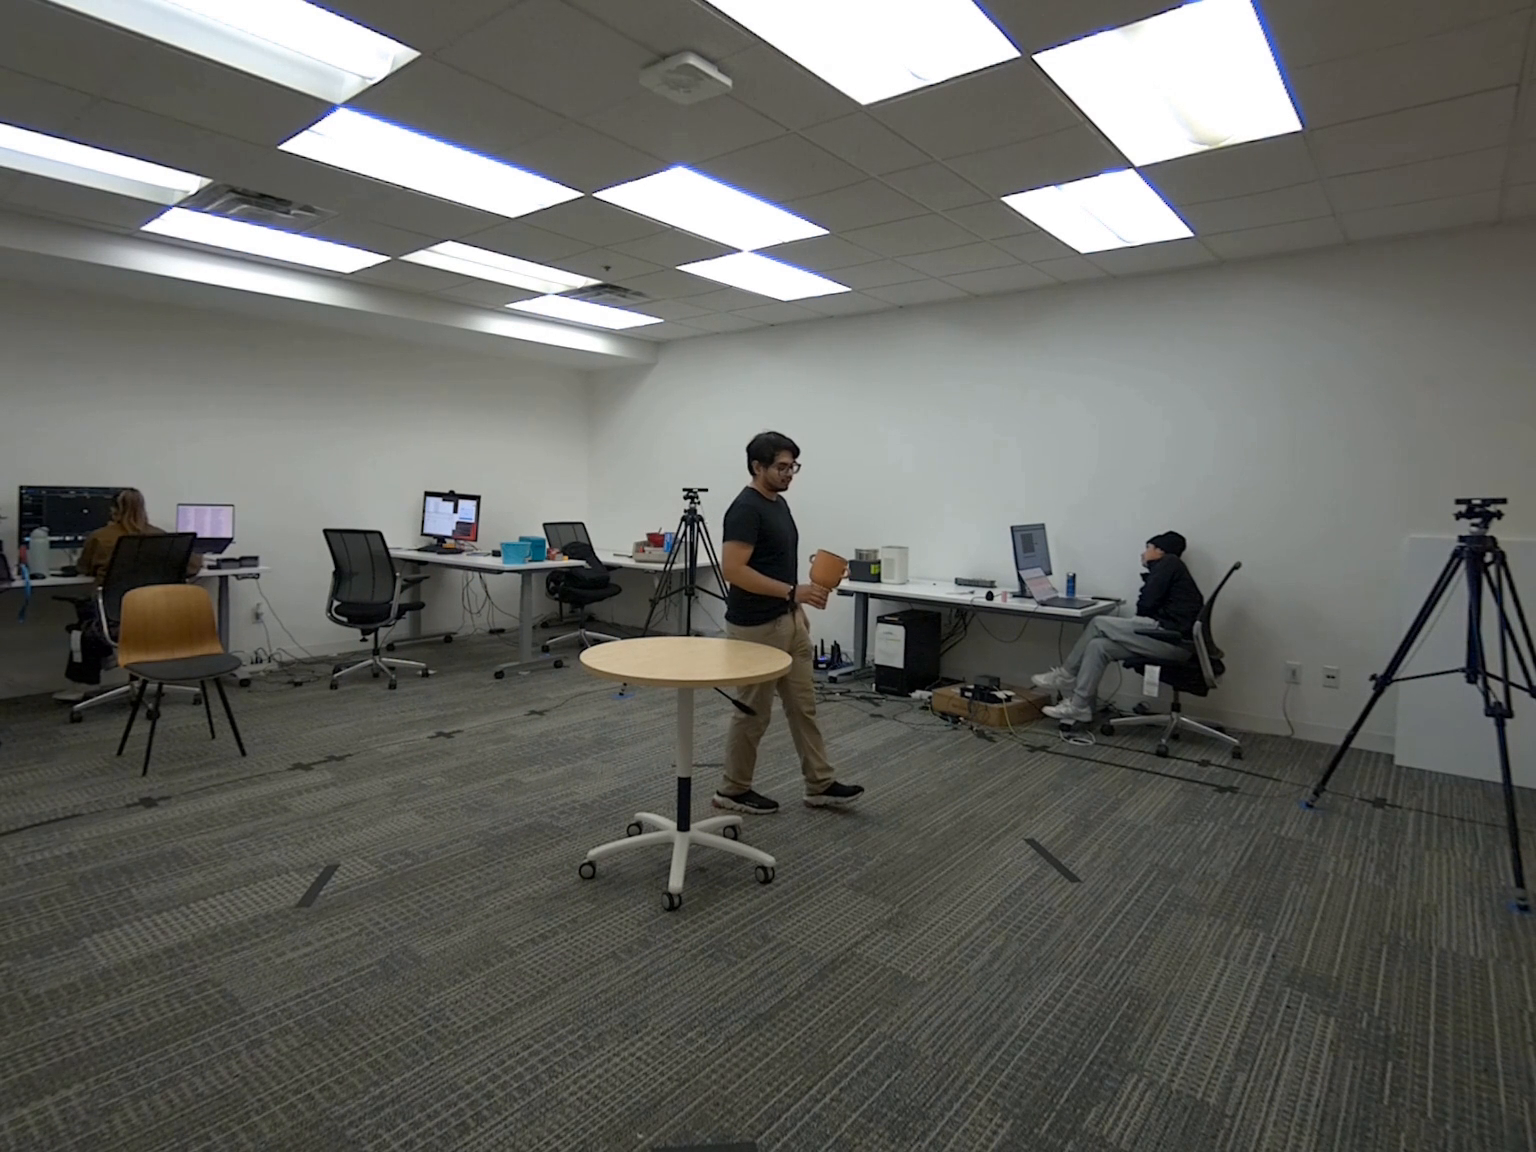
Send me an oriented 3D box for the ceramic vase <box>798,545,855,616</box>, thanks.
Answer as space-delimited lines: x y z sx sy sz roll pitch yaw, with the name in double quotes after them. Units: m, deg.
0.221 0.014 3.404 0.132 0.219 0.162 21 5 -15 "ceramic vase"
